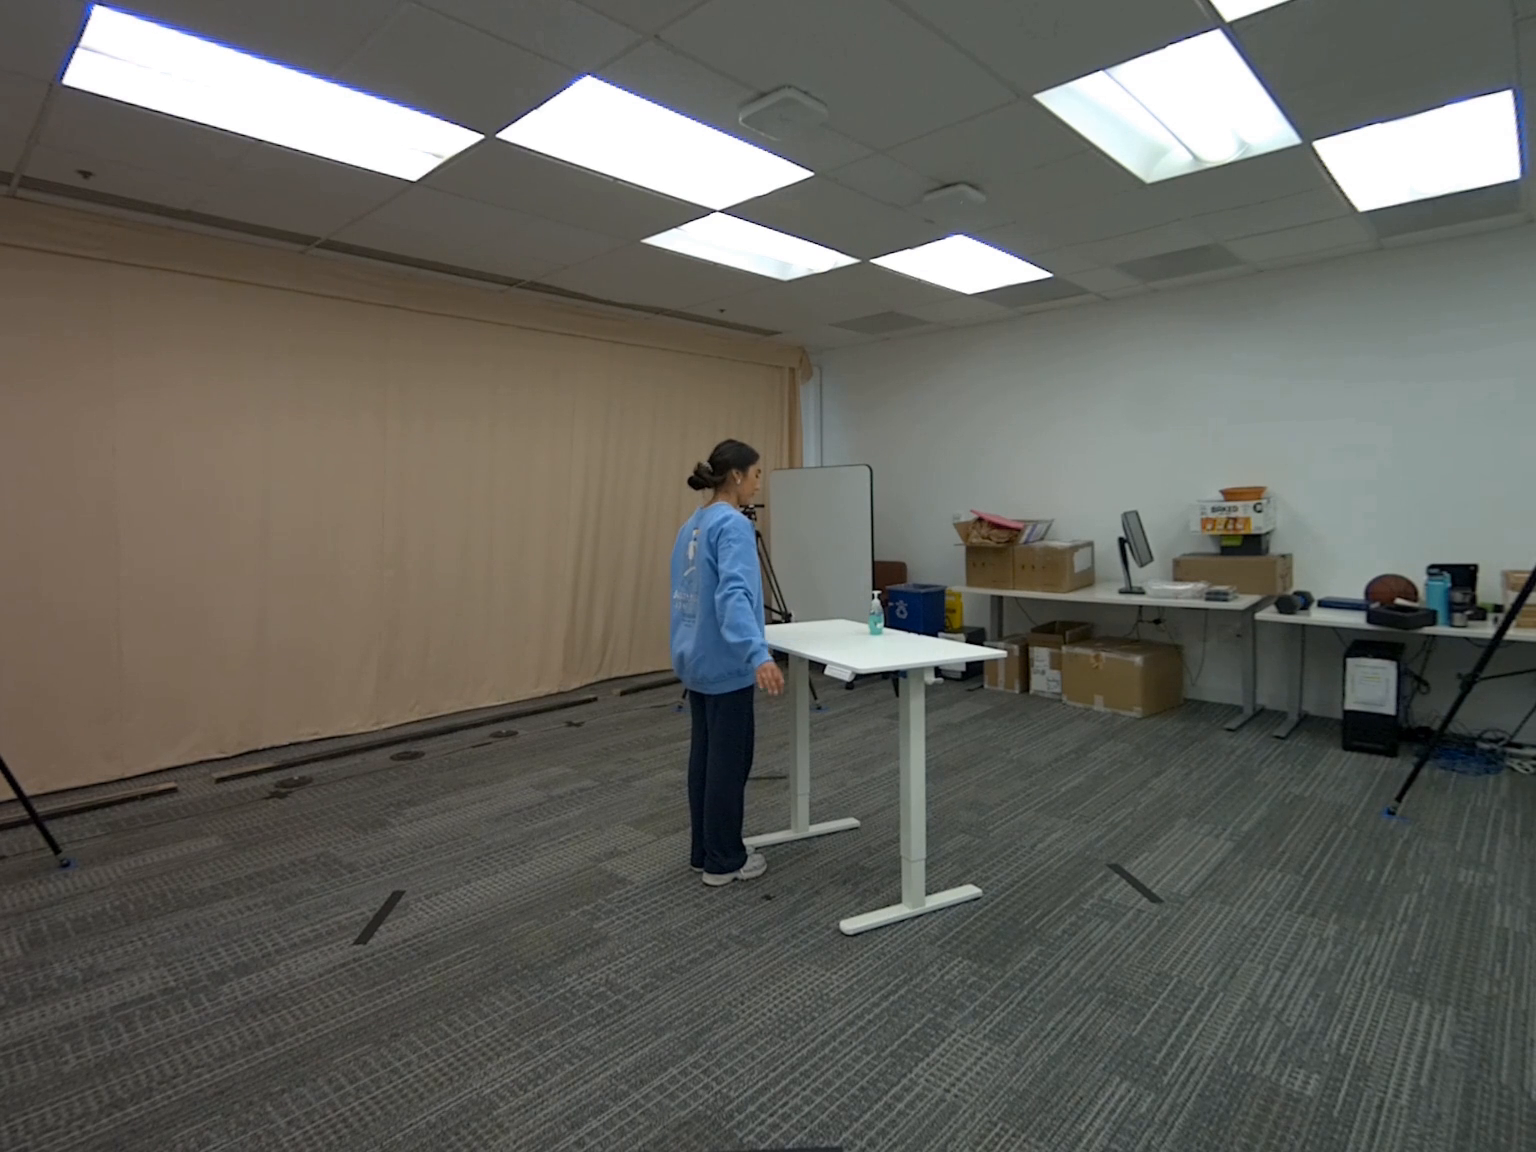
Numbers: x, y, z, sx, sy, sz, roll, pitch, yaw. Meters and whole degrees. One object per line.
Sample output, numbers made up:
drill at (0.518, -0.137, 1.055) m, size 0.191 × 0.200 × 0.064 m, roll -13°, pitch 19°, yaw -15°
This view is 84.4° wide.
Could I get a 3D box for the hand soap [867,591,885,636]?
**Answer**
hand soap at (0.426, 0.144, 3.266) m, size 0.045 × 0.168 × 0.082 m, roll 0°, pitch 2°, yaw 42°
